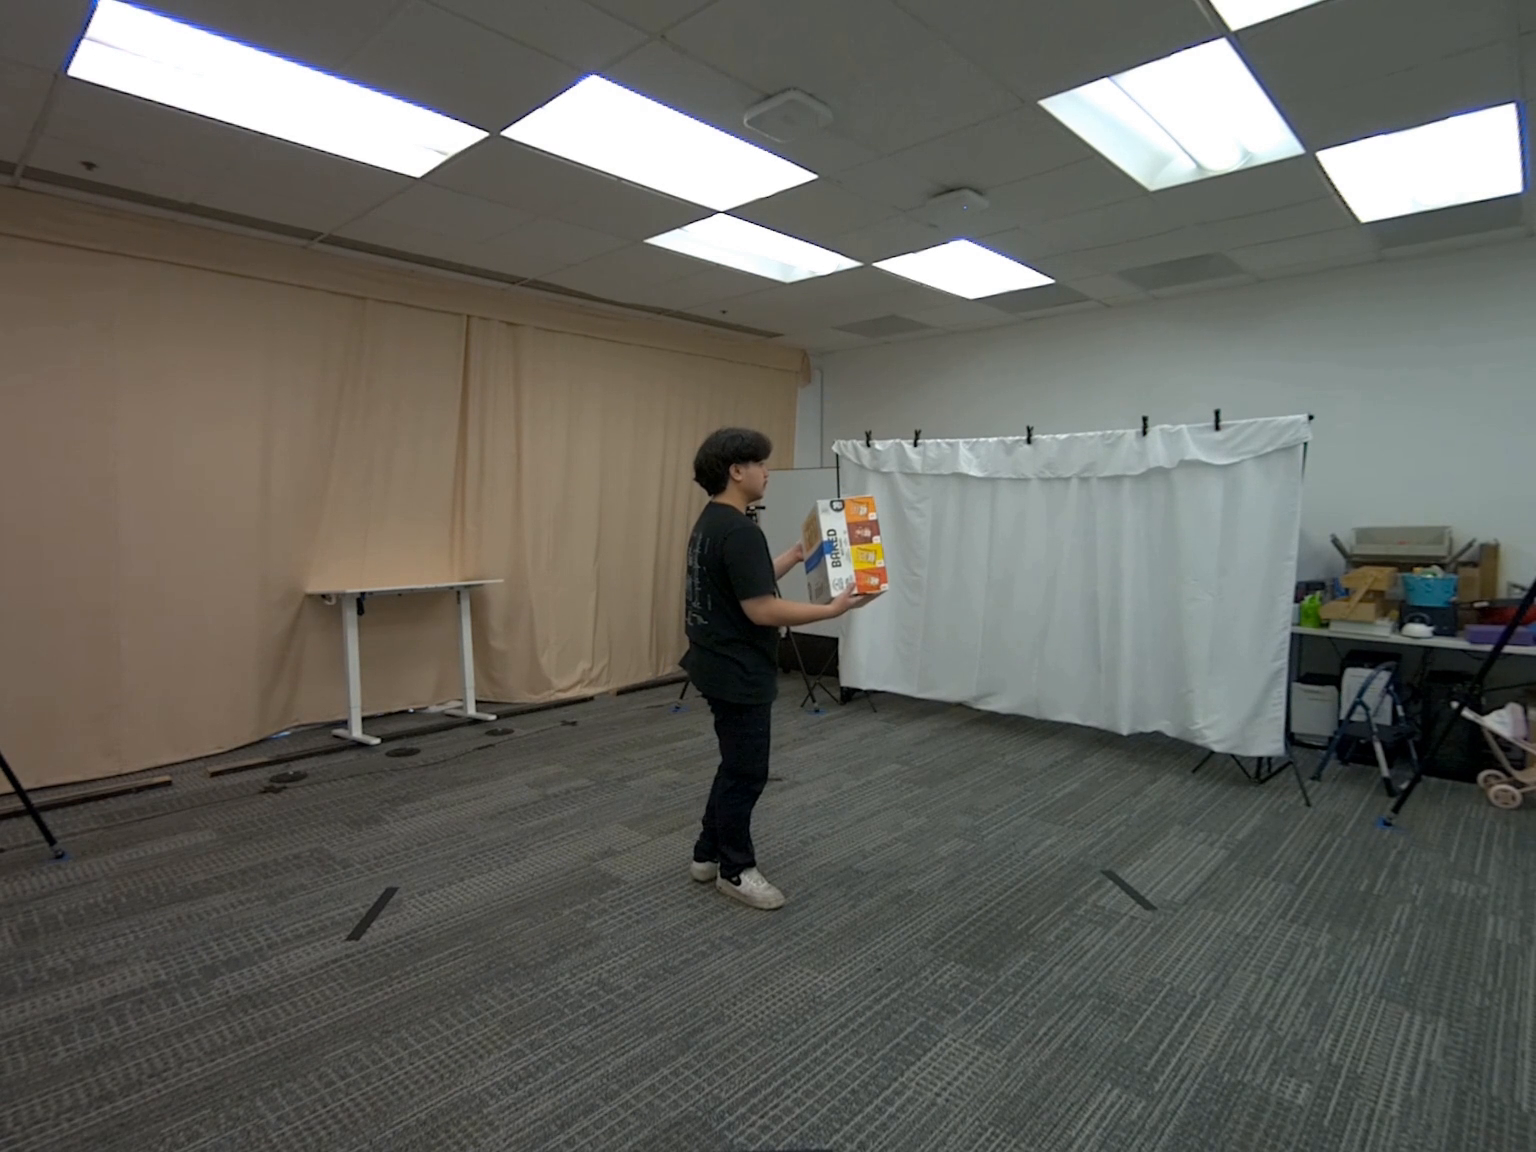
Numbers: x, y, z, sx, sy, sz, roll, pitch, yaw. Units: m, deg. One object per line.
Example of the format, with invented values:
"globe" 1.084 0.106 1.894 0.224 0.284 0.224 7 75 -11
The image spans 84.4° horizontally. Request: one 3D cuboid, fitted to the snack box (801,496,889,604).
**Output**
"snack box" 0.272 -0.064 3.091 0.205 0.343 0.404 -5 -11 -6
